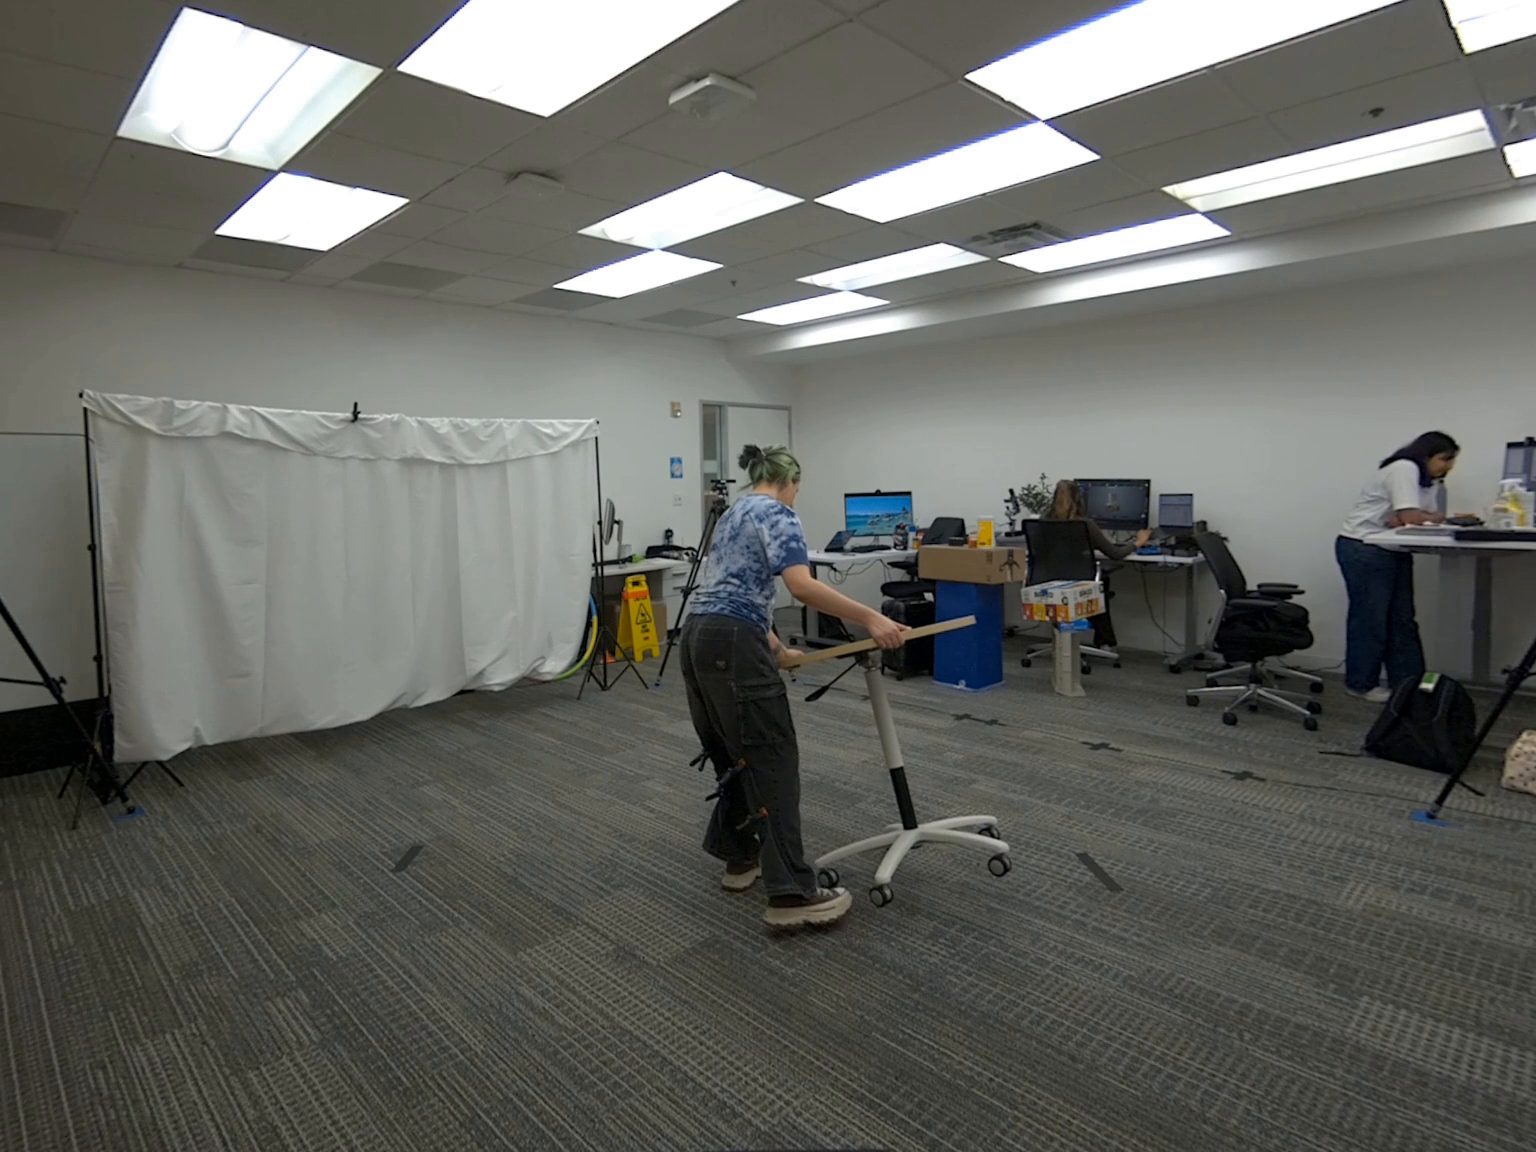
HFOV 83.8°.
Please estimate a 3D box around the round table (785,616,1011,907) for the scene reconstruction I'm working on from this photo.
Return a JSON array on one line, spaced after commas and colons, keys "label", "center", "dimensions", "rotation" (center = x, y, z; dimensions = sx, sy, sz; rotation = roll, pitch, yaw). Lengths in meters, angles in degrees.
[{"label": "round table", "center": [0.434, 0.614, 2.934], "dimensions": [0.762, 0.801, 0.759], "rotation": [-12, -7, -3]}]
